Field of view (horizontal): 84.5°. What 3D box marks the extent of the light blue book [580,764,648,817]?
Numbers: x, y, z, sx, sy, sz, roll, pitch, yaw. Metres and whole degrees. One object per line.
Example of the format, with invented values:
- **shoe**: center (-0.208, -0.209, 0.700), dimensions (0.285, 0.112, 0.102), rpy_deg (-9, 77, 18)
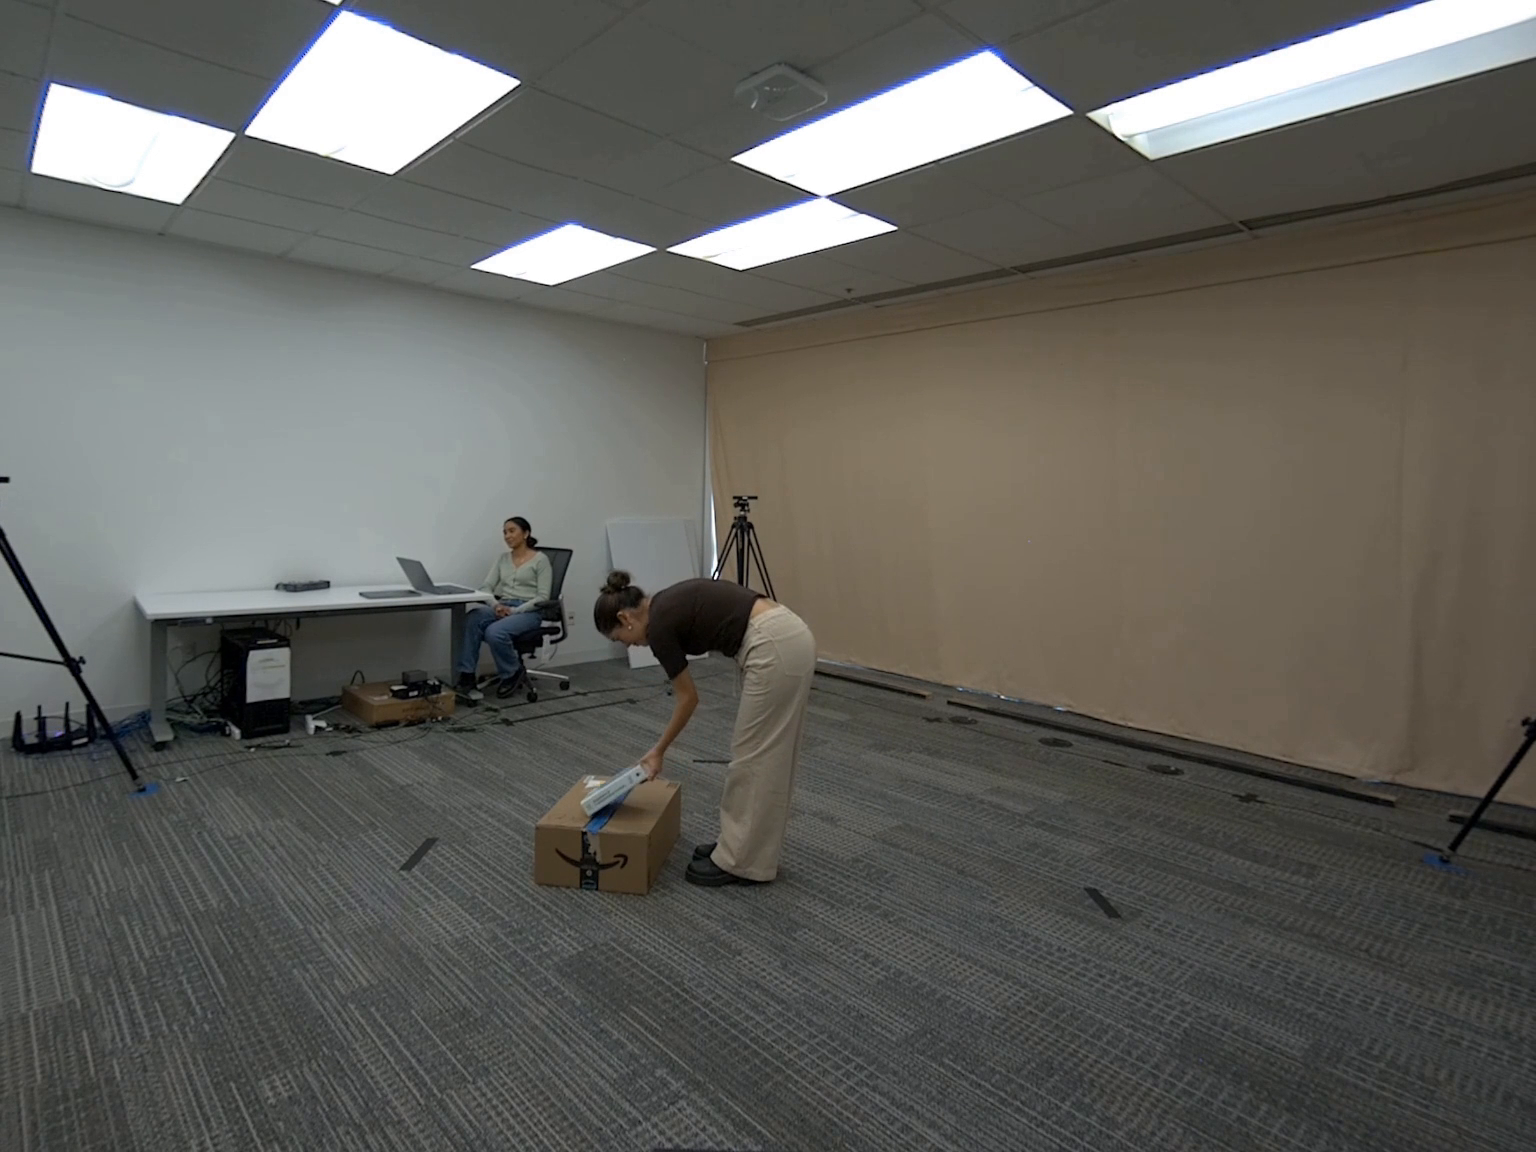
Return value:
- **light blue book**: center (-0.560, 0.777, 3.145), dimensions (0.261, 0.059, 0.191), rpy_deg (-33, 0, 1)
